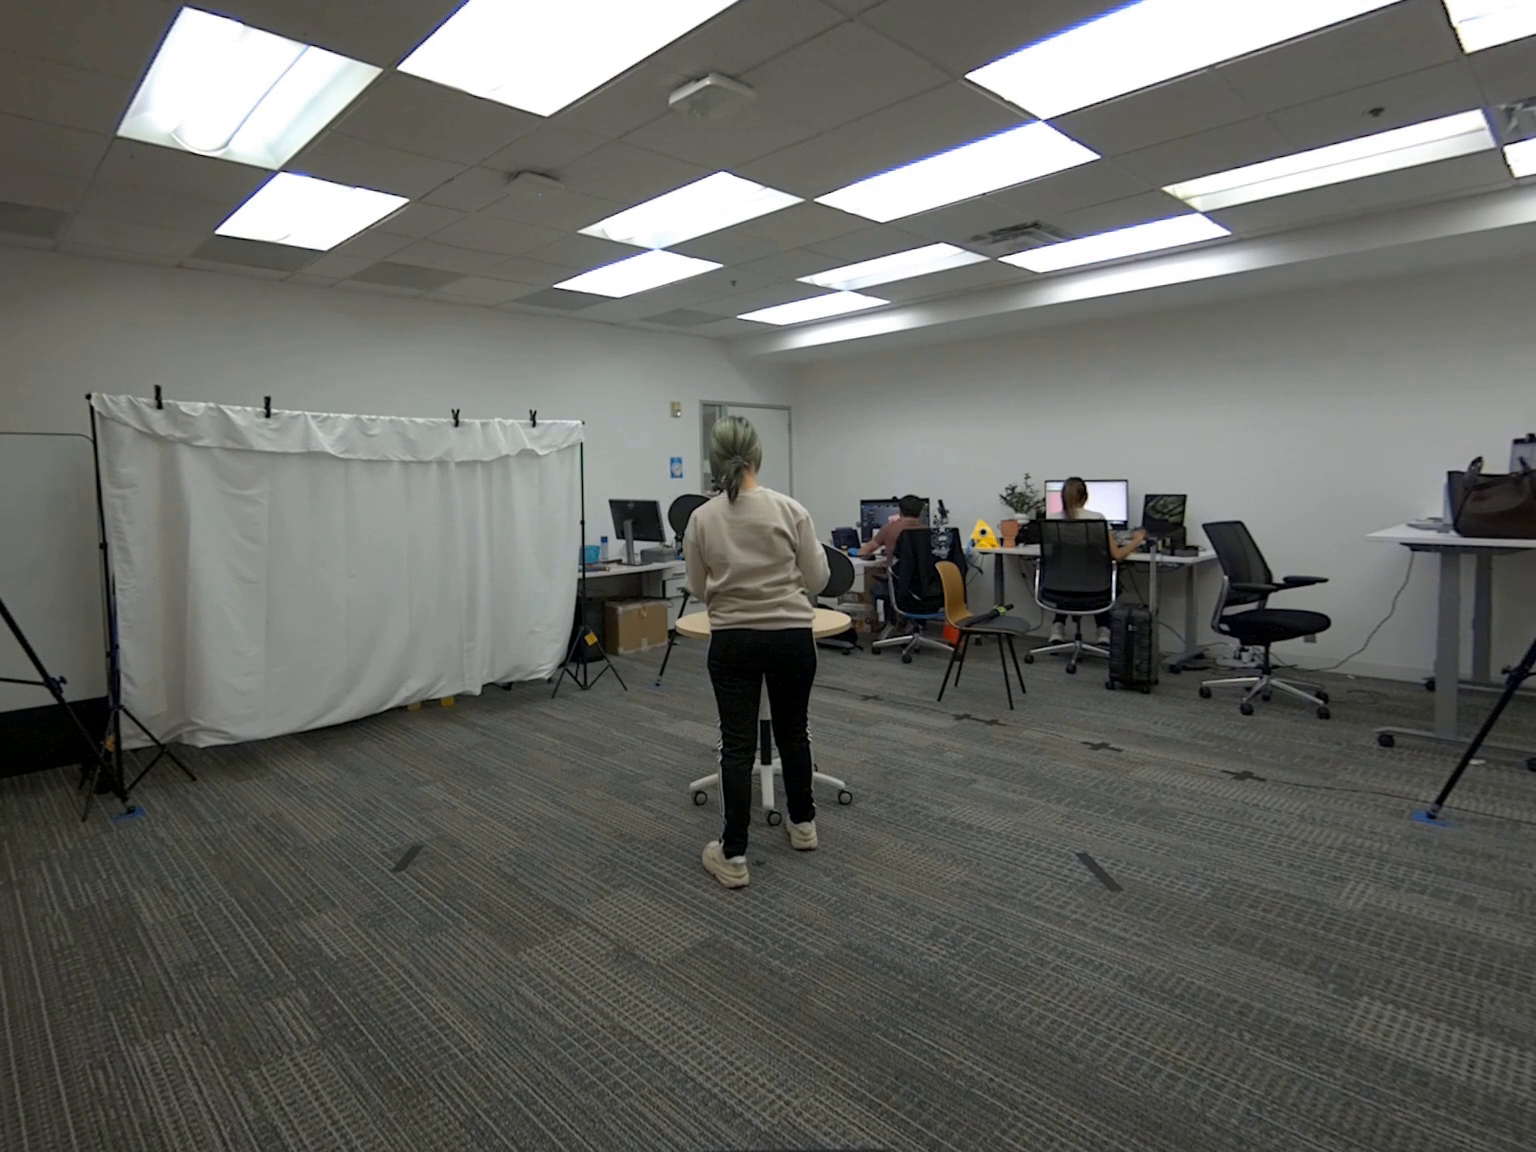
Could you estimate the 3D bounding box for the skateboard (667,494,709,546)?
[{"bbox_3d":[-0.027,-0.131,3.349,0.801,0.193,0.108,22,1,16],"label":"skateboard"}]
